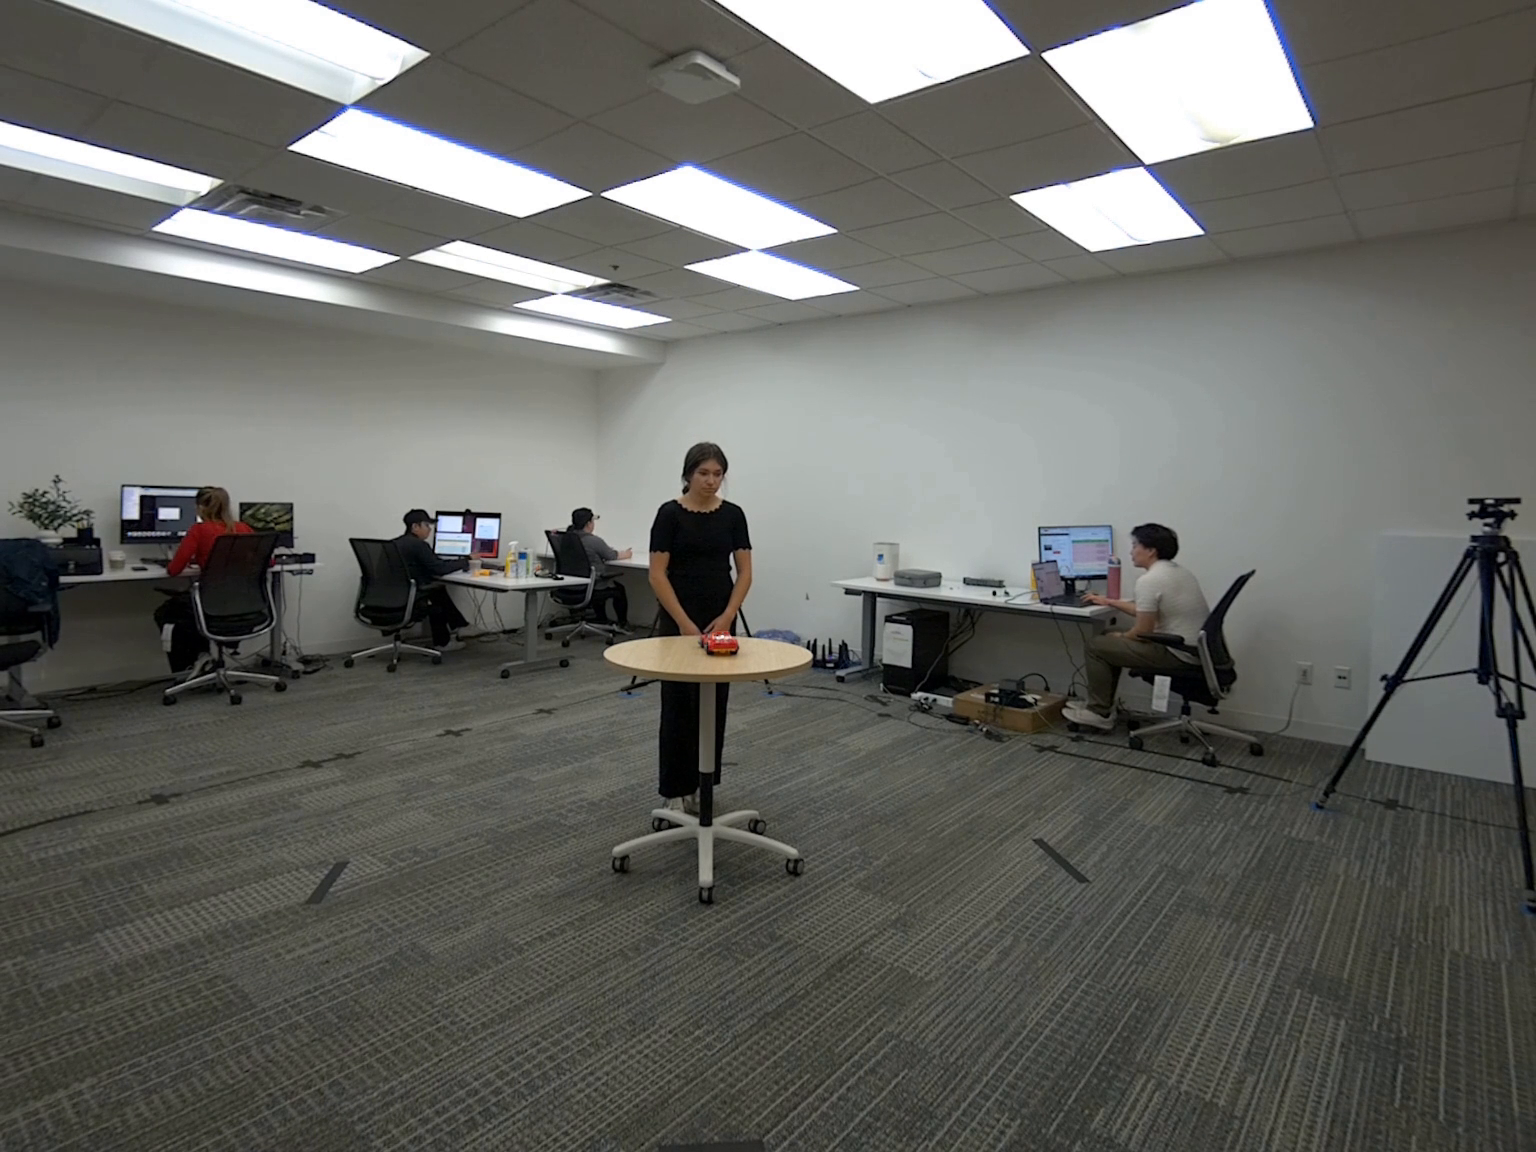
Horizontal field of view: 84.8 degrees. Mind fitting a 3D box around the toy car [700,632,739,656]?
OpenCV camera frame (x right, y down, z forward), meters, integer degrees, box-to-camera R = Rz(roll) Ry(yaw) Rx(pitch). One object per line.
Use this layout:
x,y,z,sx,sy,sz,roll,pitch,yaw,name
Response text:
-0.189,0.244,3.149,0.129,0.084,0.255,0,-7,-11,toy car
